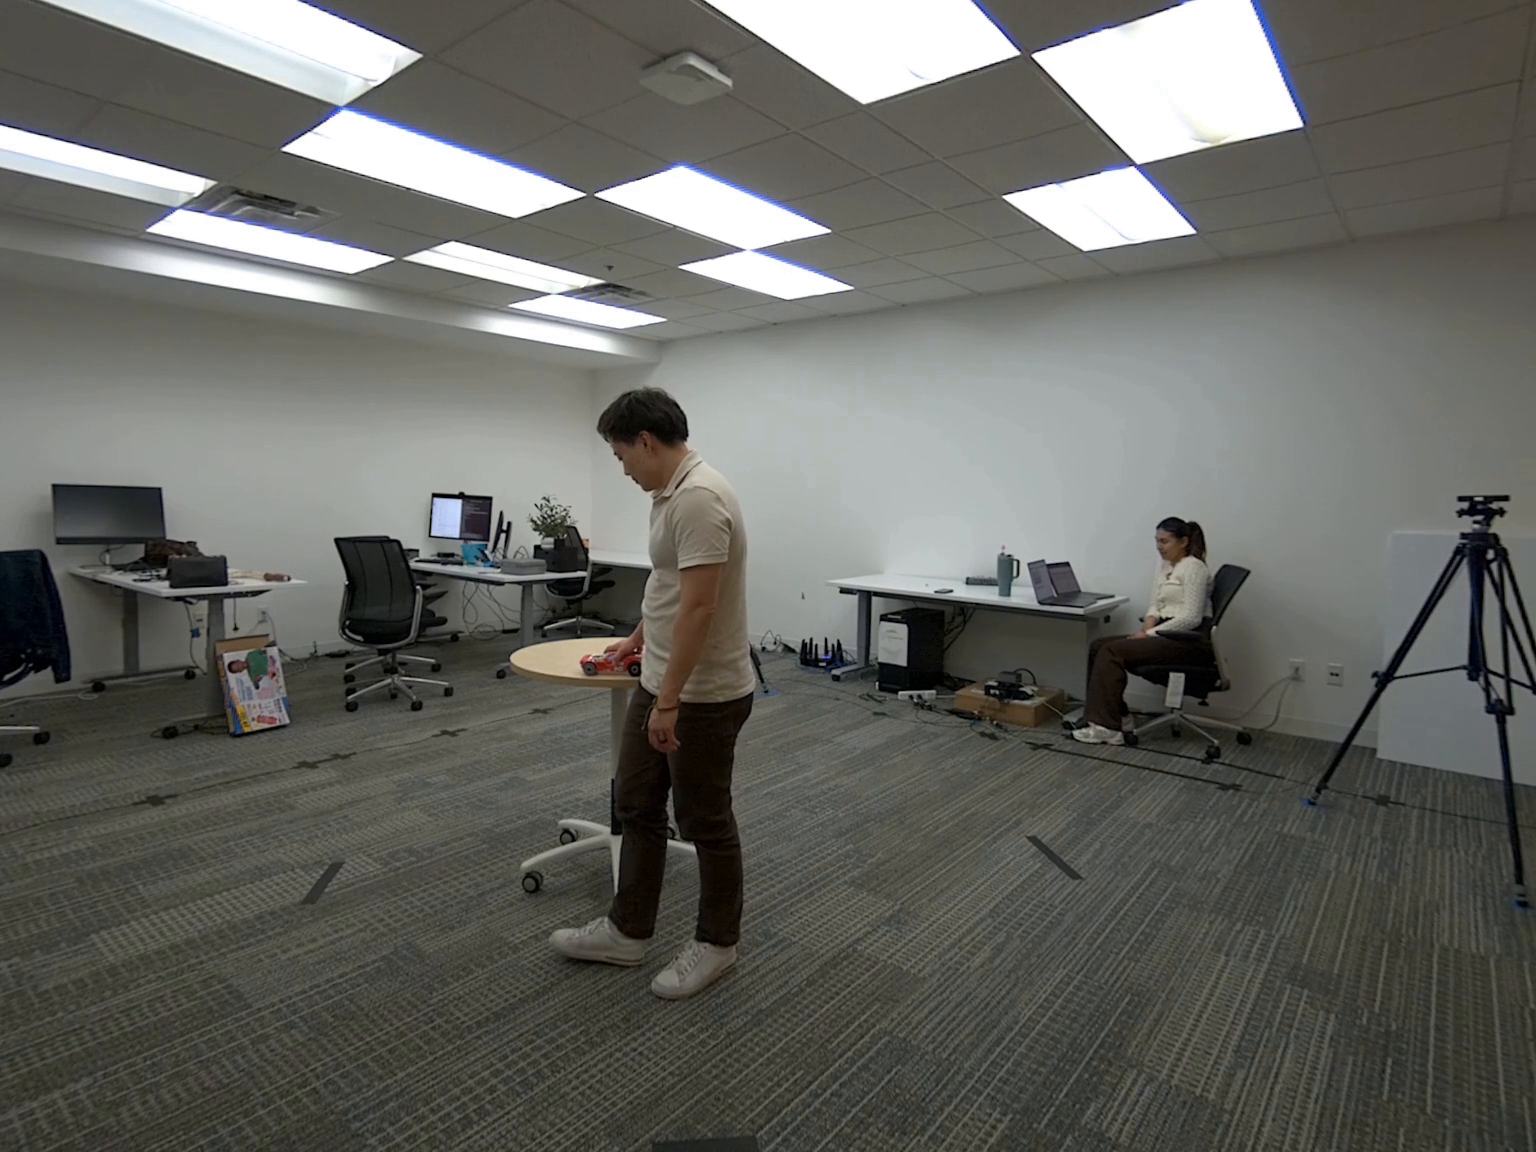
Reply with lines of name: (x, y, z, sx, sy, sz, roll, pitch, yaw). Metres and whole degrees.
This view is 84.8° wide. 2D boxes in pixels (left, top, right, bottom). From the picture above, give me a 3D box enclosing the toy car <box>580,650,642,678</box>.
toy car: (-0.489, 0.278, 2.757, 0.254, 0.083, 0.131, -10, 4, -1)
